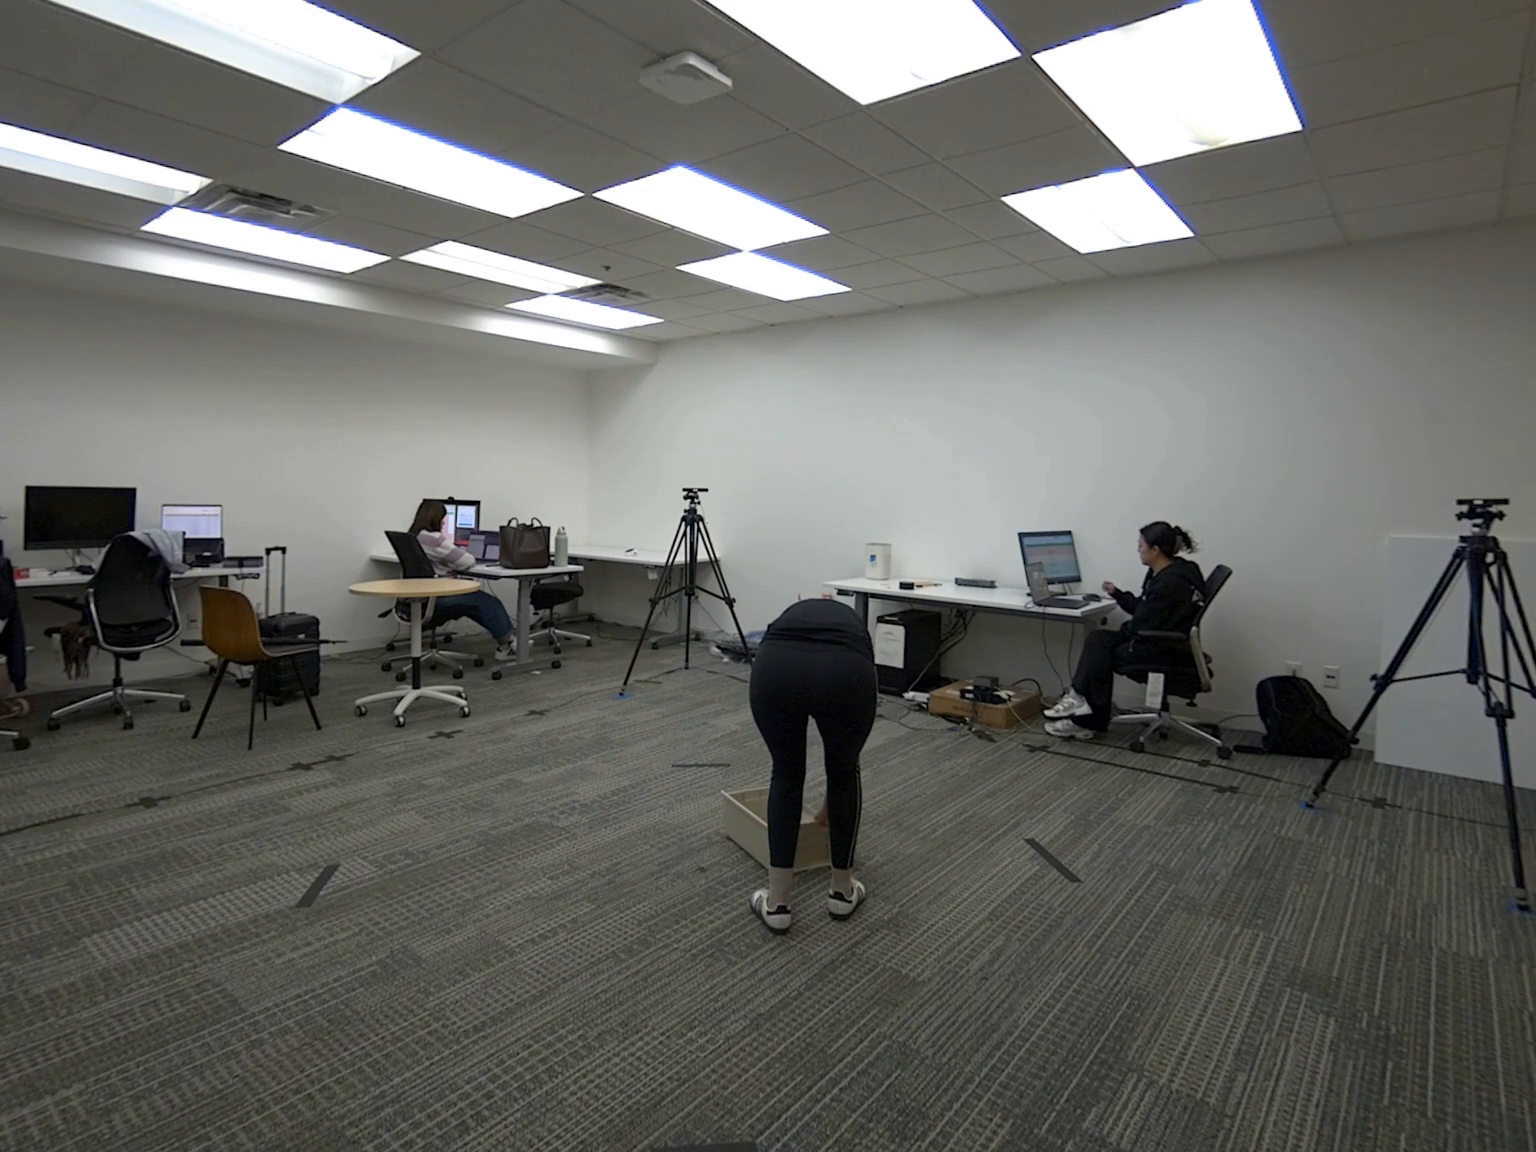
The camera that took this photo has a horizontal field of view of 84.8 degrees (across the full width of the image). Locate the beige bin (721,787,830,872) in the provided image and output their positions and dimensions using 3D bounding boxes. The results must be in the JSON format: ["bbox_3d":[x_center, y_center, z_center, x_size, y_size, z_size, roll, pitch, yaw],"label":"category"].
[{"bbox_3d":[0.071,0.962,3.312,0.368,0.188,0.435,-4,8,-27],"label":"beige bin"}]
